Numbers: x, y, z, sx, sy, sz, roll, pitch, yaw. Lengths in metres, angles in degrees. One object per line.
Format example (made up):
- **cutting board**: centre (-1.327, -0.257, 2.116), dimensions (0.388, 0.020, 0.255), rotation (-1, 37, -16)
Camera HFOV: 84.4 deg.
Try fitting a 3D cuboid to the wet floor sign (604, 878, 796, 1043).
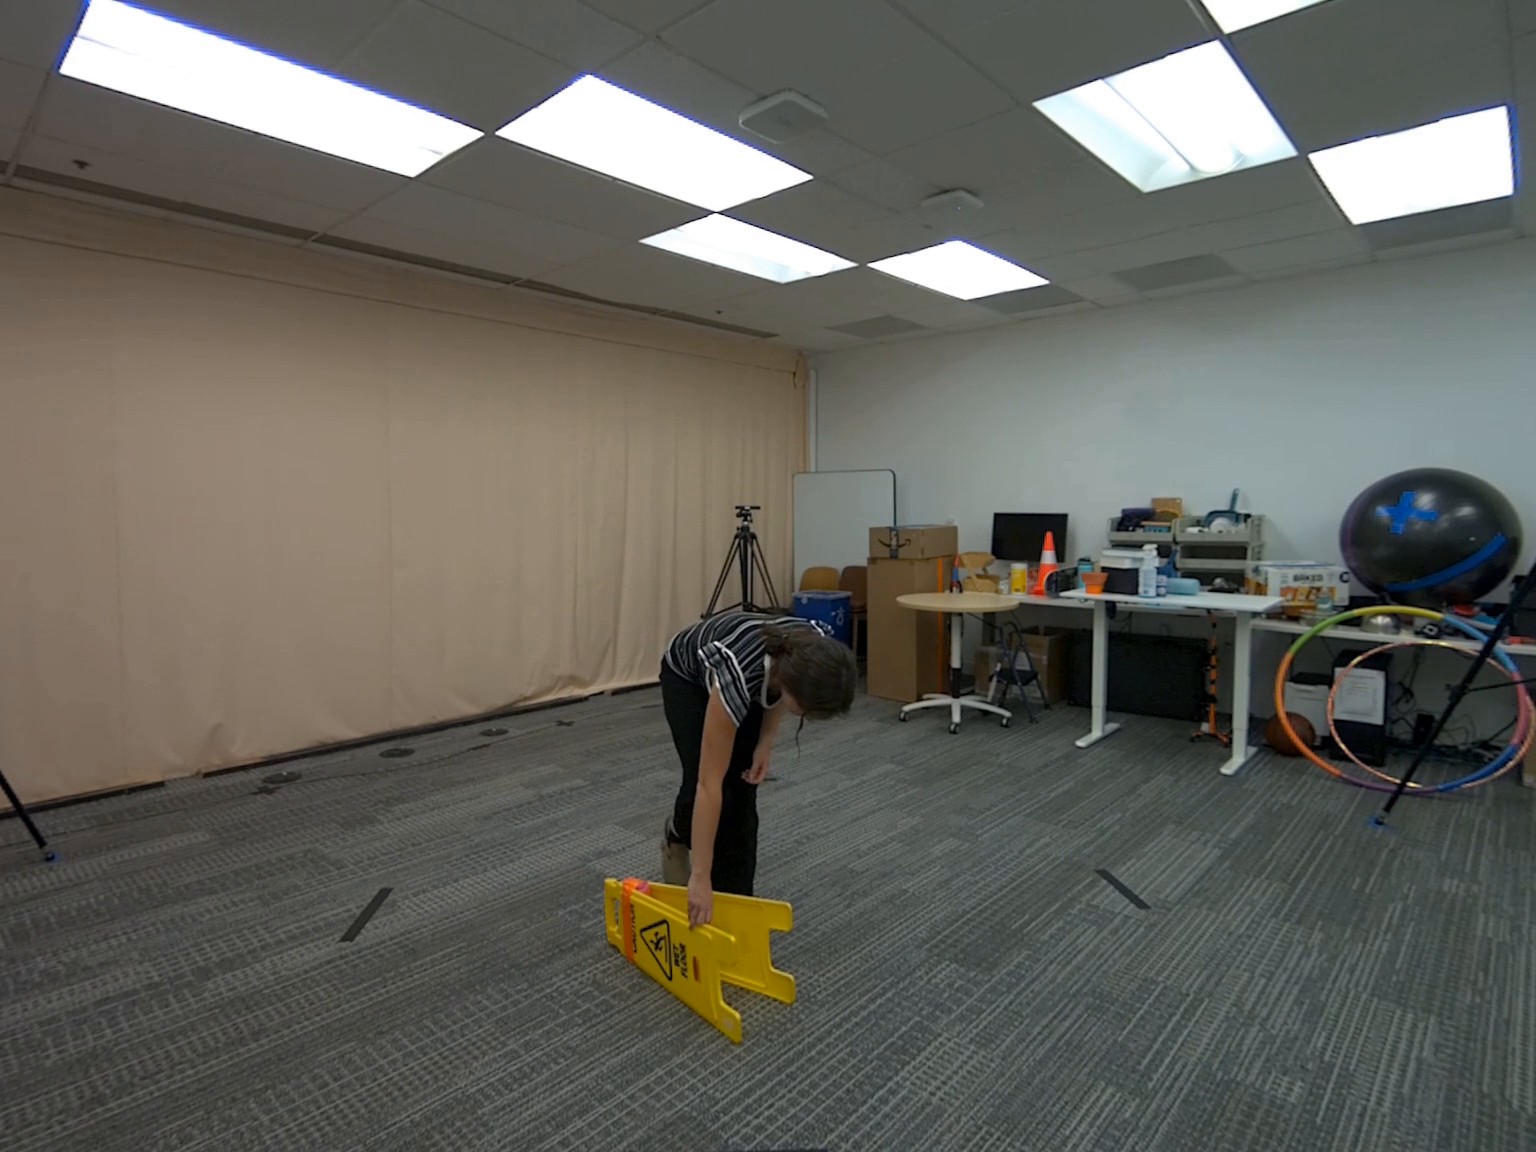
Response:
- **wet floor sign**: centre (-0.260, 1.065, 2.470), dimensions (0.666, 0.282, 0.281), rotation (-1, 4, 39)
